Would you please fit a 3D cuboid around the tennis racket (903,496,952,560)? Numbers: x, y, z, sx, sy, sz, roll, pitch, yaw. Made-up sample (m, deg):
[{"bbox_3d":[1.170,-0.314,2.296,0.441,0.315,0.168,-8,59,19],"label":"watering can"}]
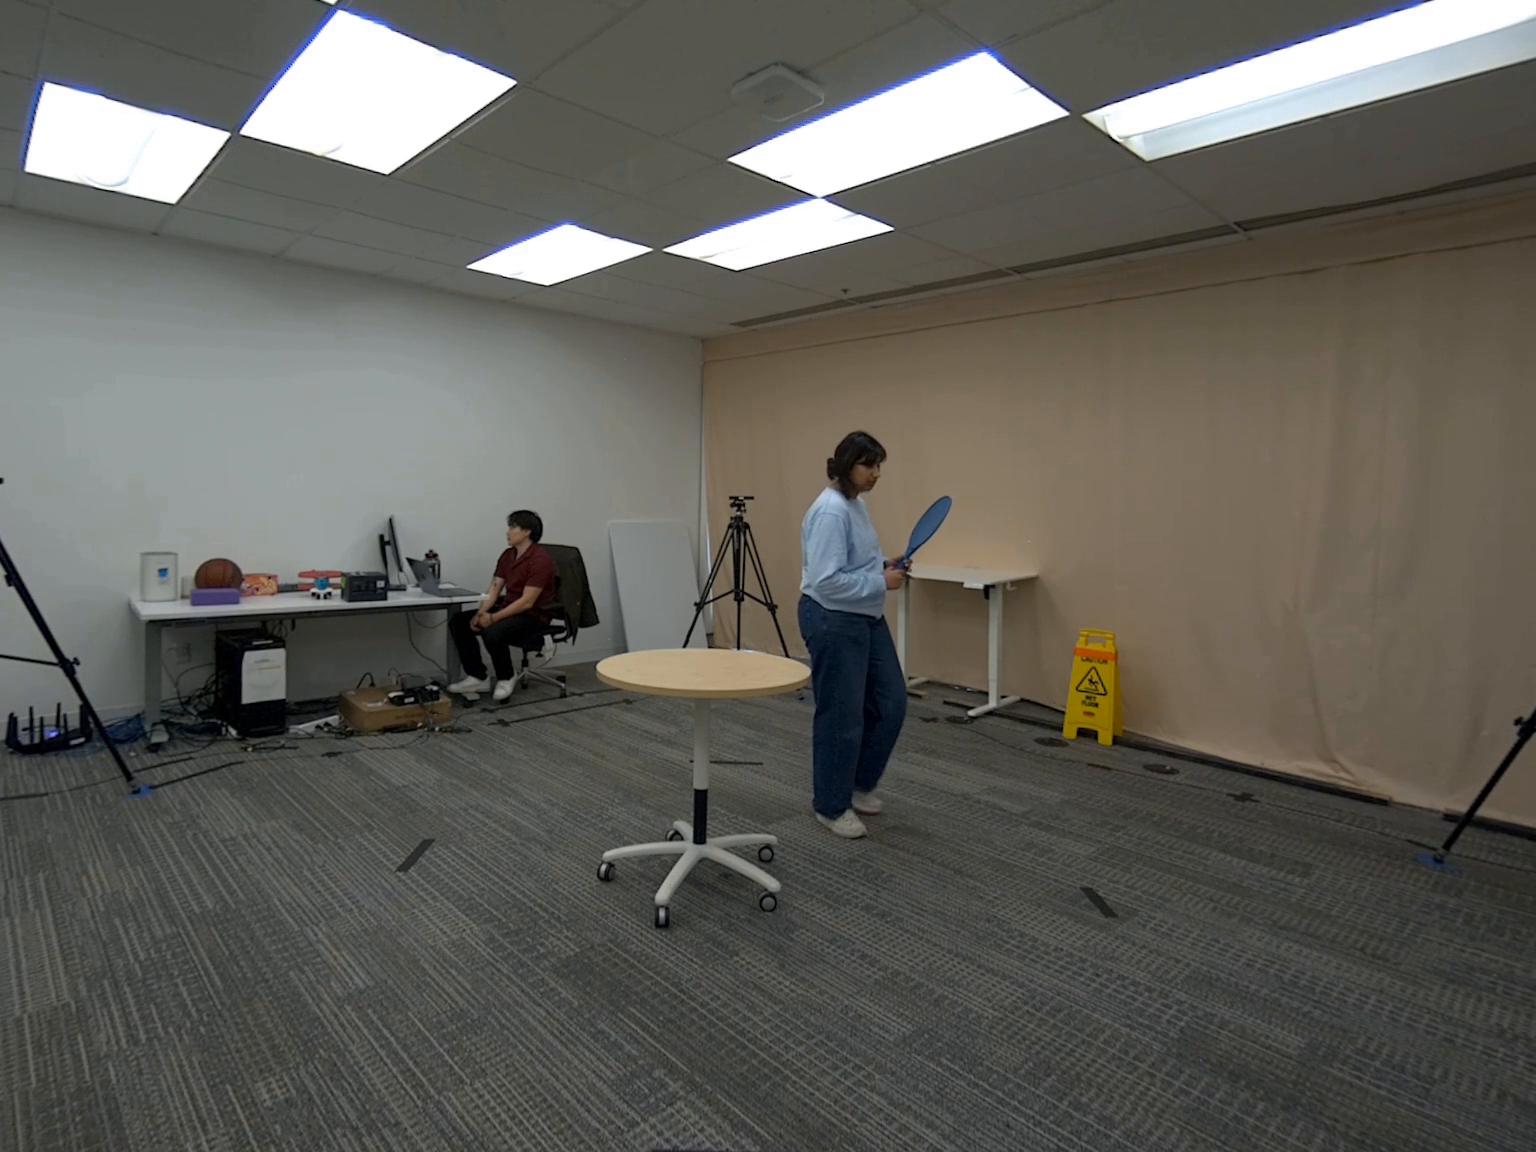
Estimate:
[{"bbox_3d":[0.602,-0.158,3.475,0.031,0.432,0.216,35,7,-13],"label":"tennis racket"}]
